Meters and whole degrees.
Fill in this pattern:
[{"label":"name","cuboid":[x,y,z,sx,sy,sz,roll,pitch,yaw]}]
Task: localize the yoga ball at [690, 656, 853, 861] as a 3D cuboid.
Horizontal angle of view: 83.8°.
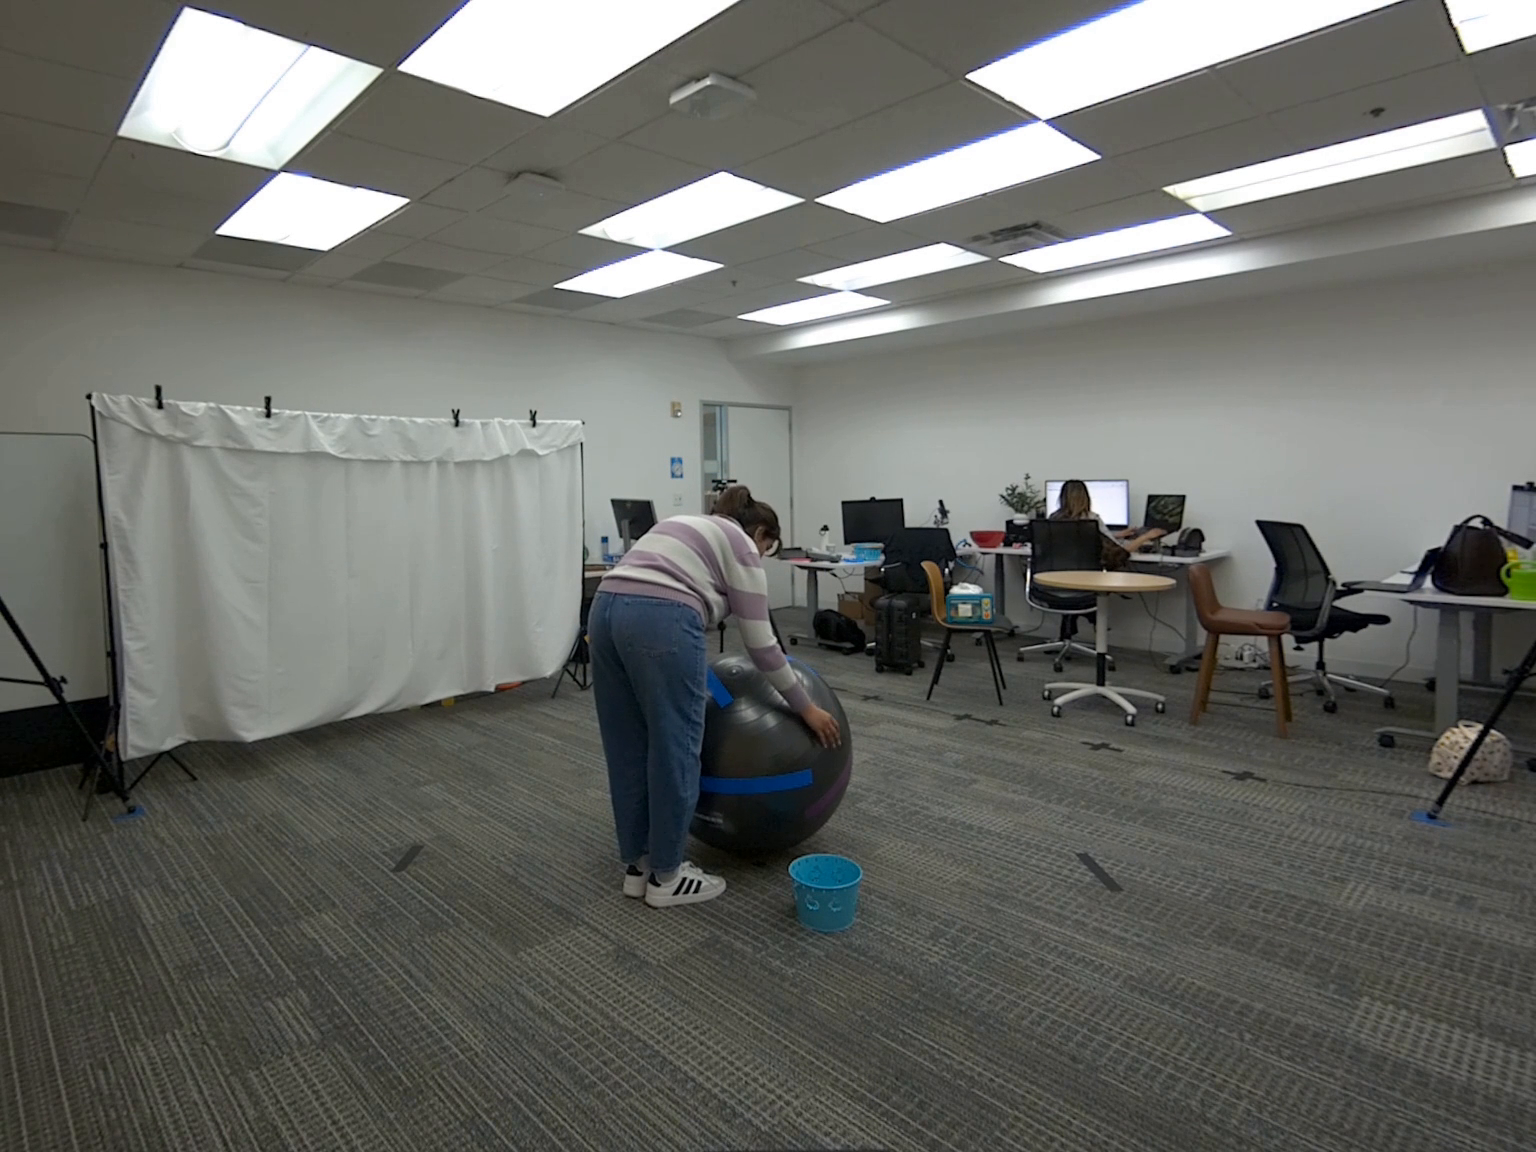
[{"label":"yoga ball","cuboid":[-0.056,0.670,3.234,0.757,0.755,0.762,-1,5,-2]}]
